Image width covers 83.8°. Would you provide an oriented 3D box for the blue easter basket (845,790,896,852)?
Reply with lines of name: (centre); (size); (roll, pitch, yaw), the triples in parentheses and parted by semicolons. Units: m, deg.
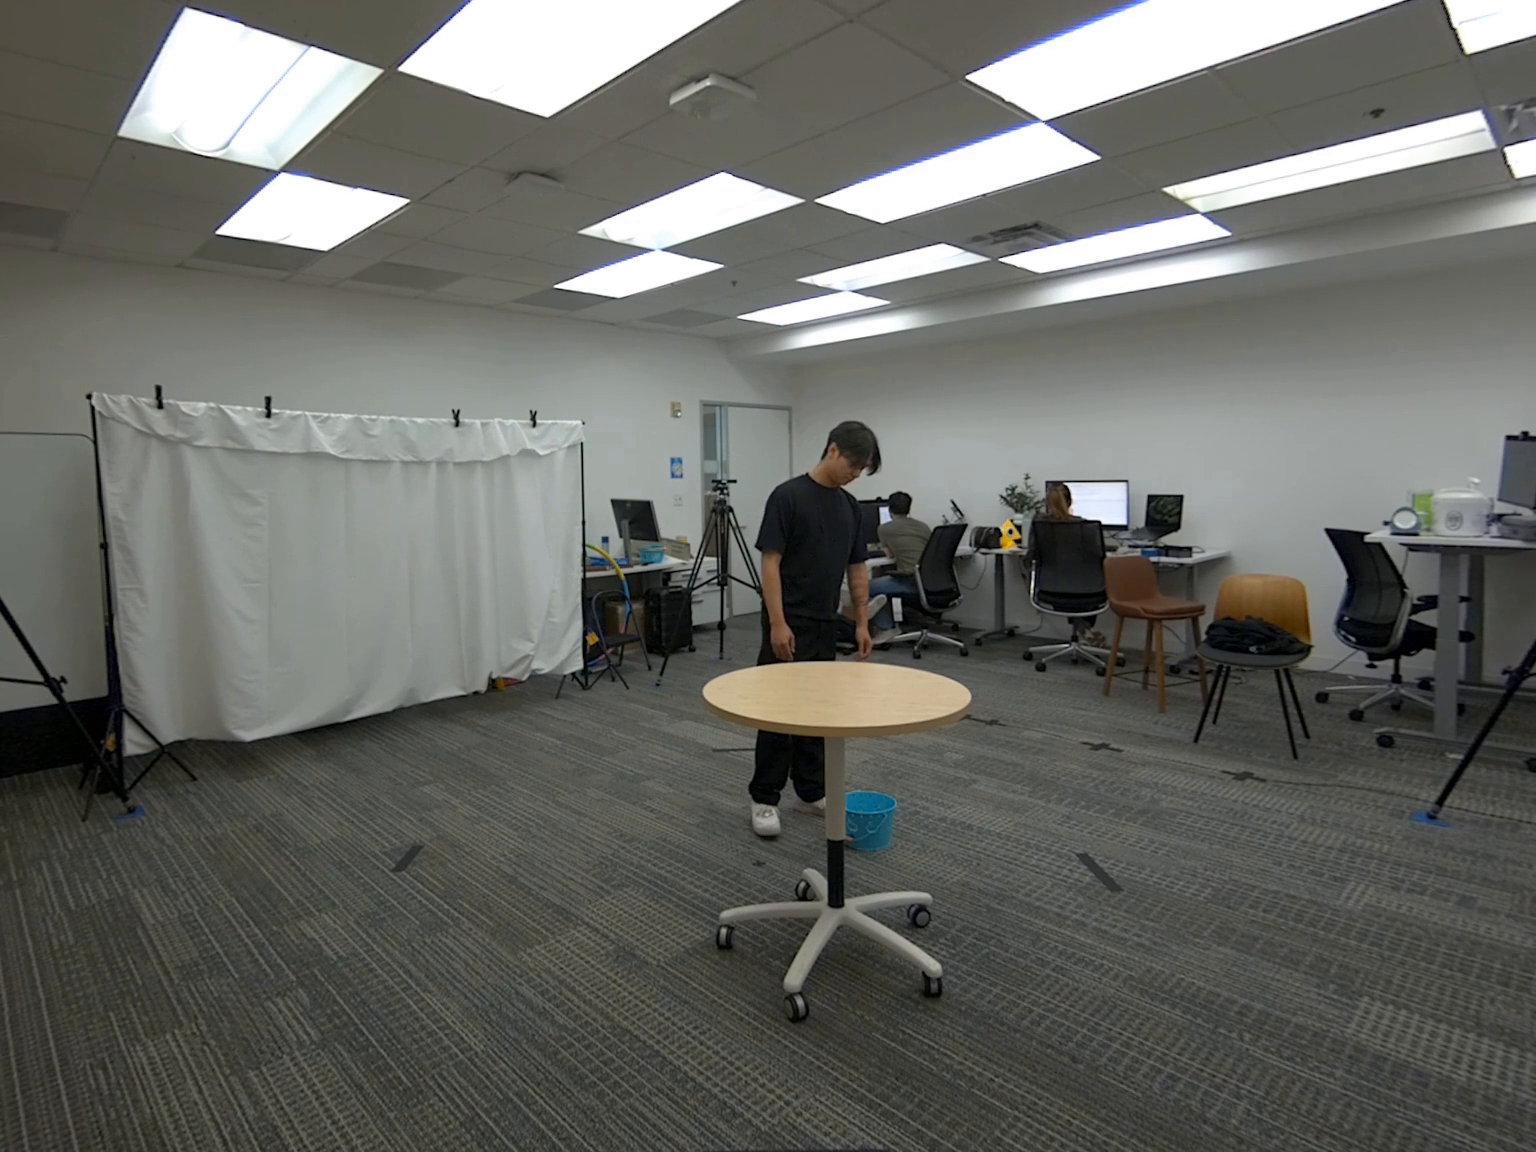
blue easter basket: (0.374, 0.941, 3.292); (0.243, 0.155, 0.245); (-1, 5, -2)
